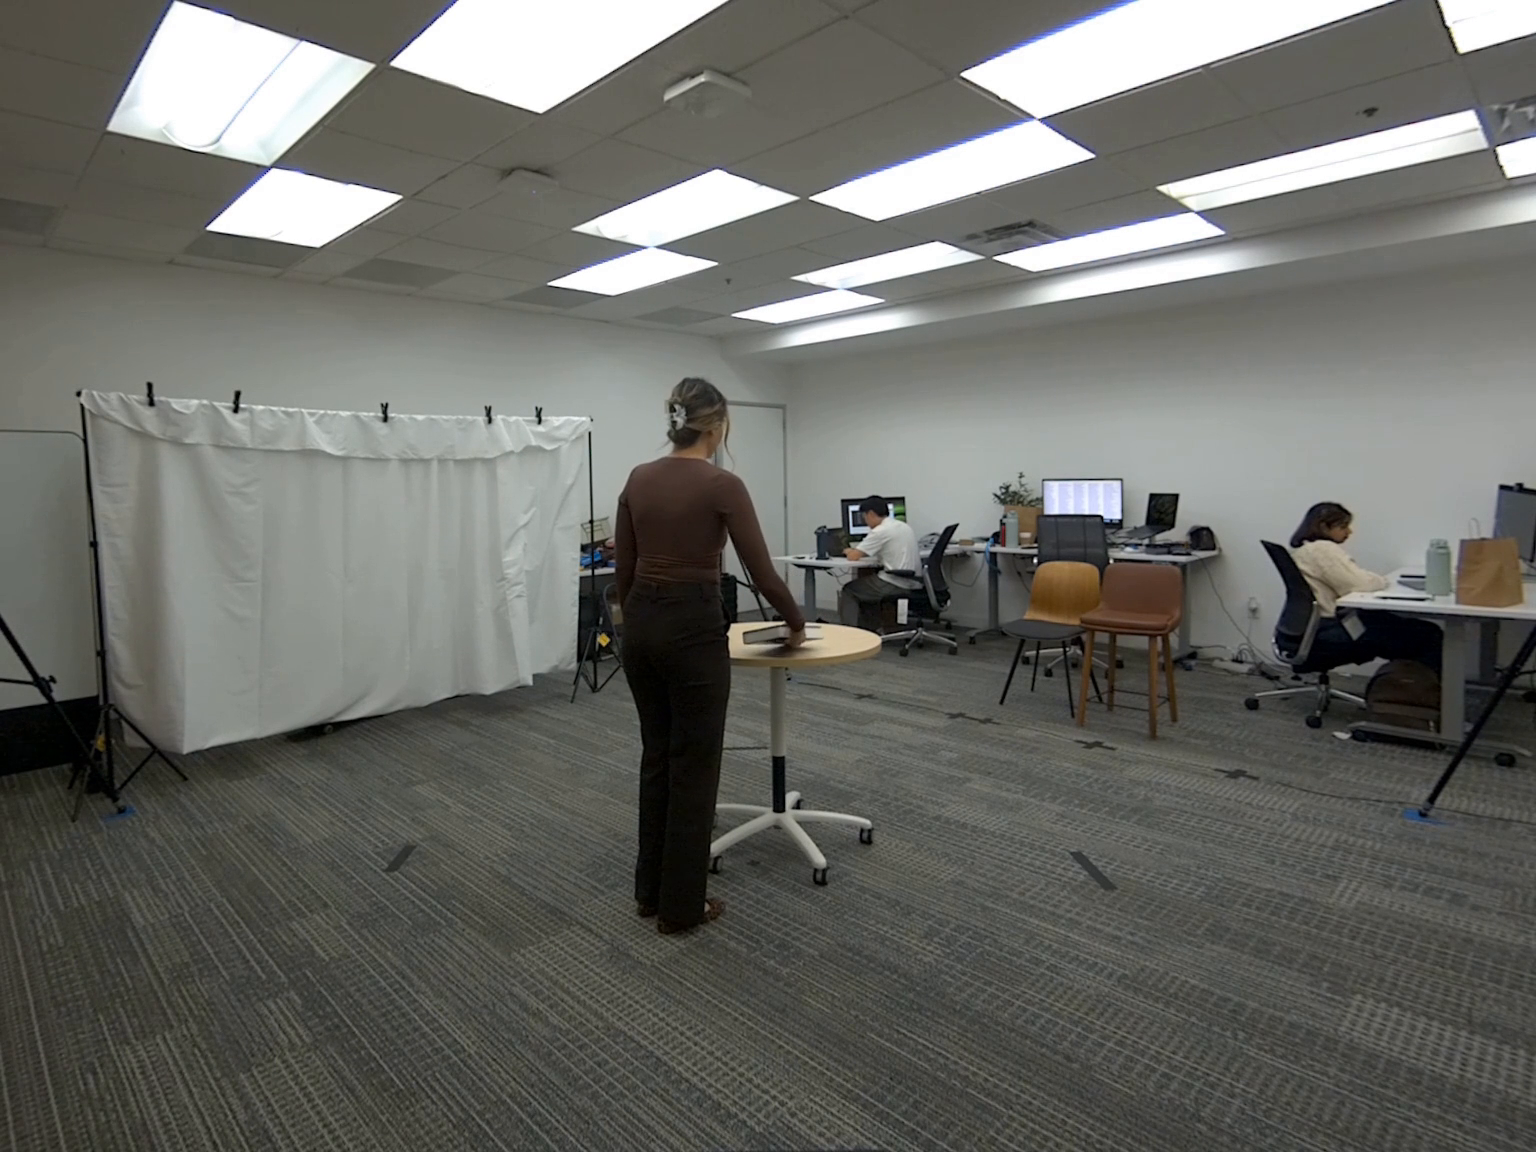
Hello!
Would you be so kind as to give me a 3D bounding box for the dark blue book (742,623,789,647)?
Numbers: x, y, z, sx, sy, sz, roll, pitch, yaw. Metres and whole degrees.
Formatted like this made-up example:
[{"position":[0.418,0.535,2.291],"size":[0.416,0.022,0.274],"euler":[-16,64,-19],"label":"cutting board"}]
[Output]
[{"position":[0.054,0.207,2.944],"size":[0.167,0.046,0.237],"euler":[-14,-12,39],"label":"dark blue book"}]
